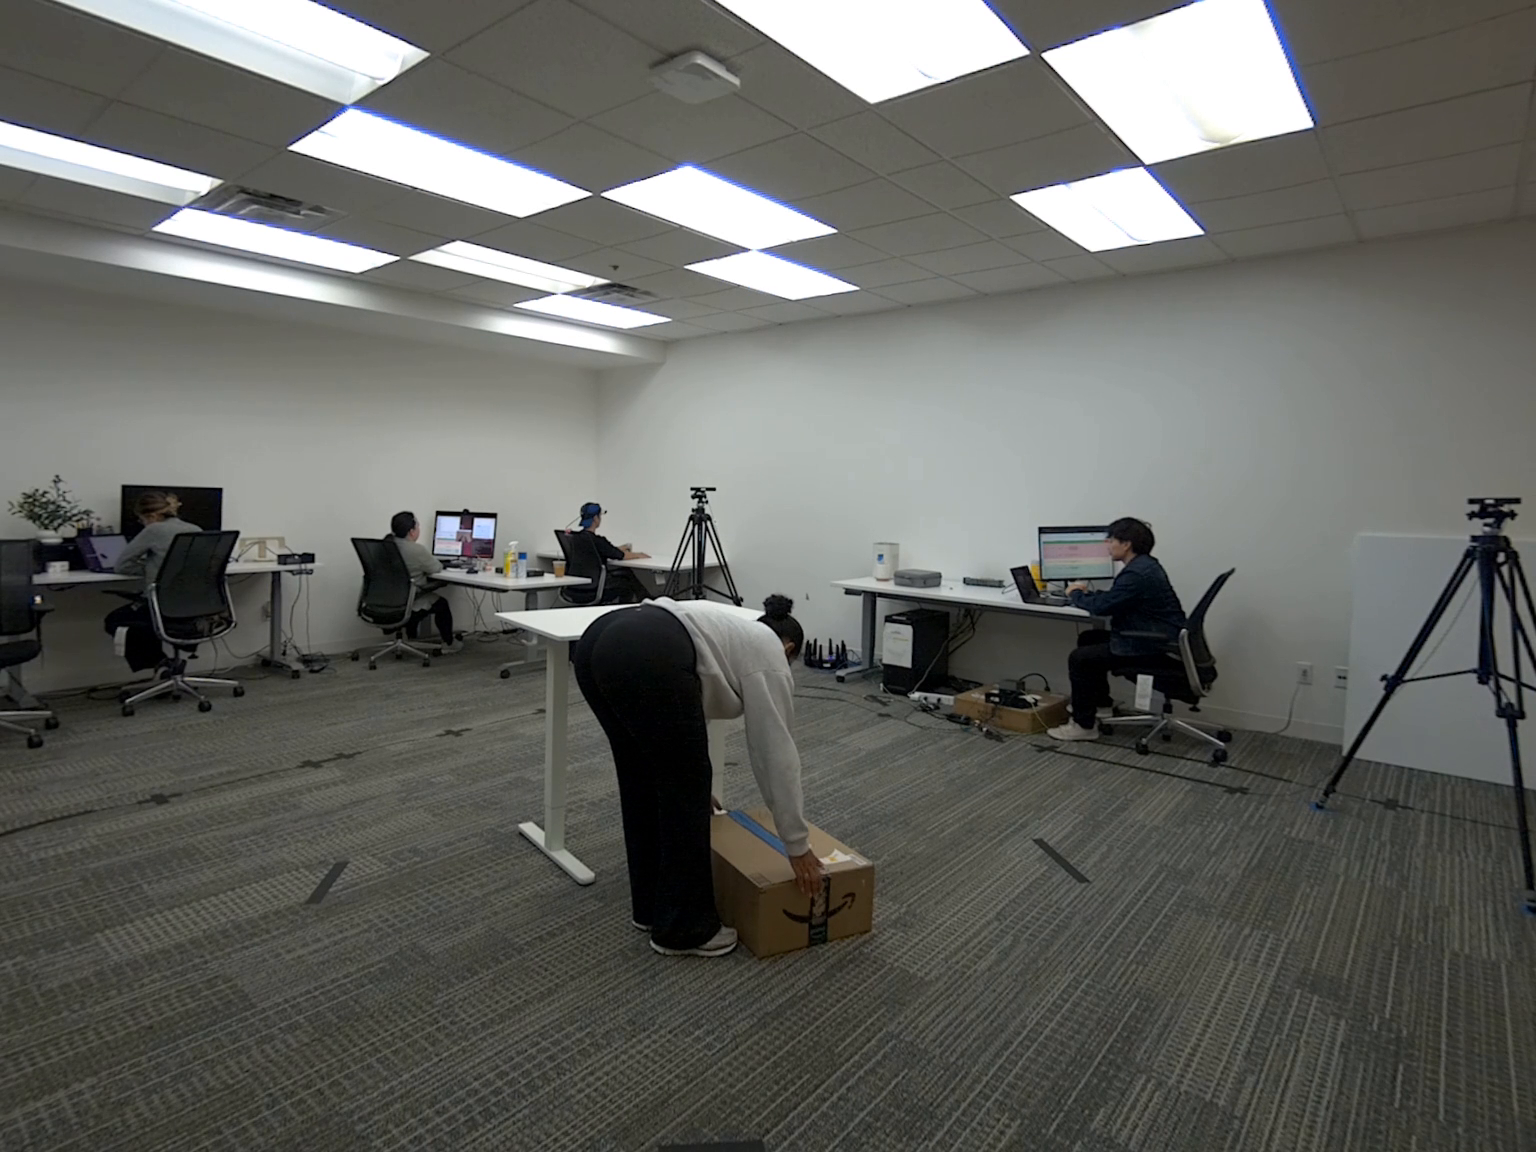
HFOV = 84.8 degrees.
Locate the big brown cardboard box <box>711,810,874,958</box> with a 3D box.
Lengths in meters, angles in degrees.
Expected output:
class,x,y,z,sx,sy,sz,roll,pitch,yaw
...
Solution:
class,x,y,z,sx,sy,sz,roll,pitch,yaw
big brown cardboard box,0.007,0.986,2.835,0.406,0.232,0.607,-1,5,-30
